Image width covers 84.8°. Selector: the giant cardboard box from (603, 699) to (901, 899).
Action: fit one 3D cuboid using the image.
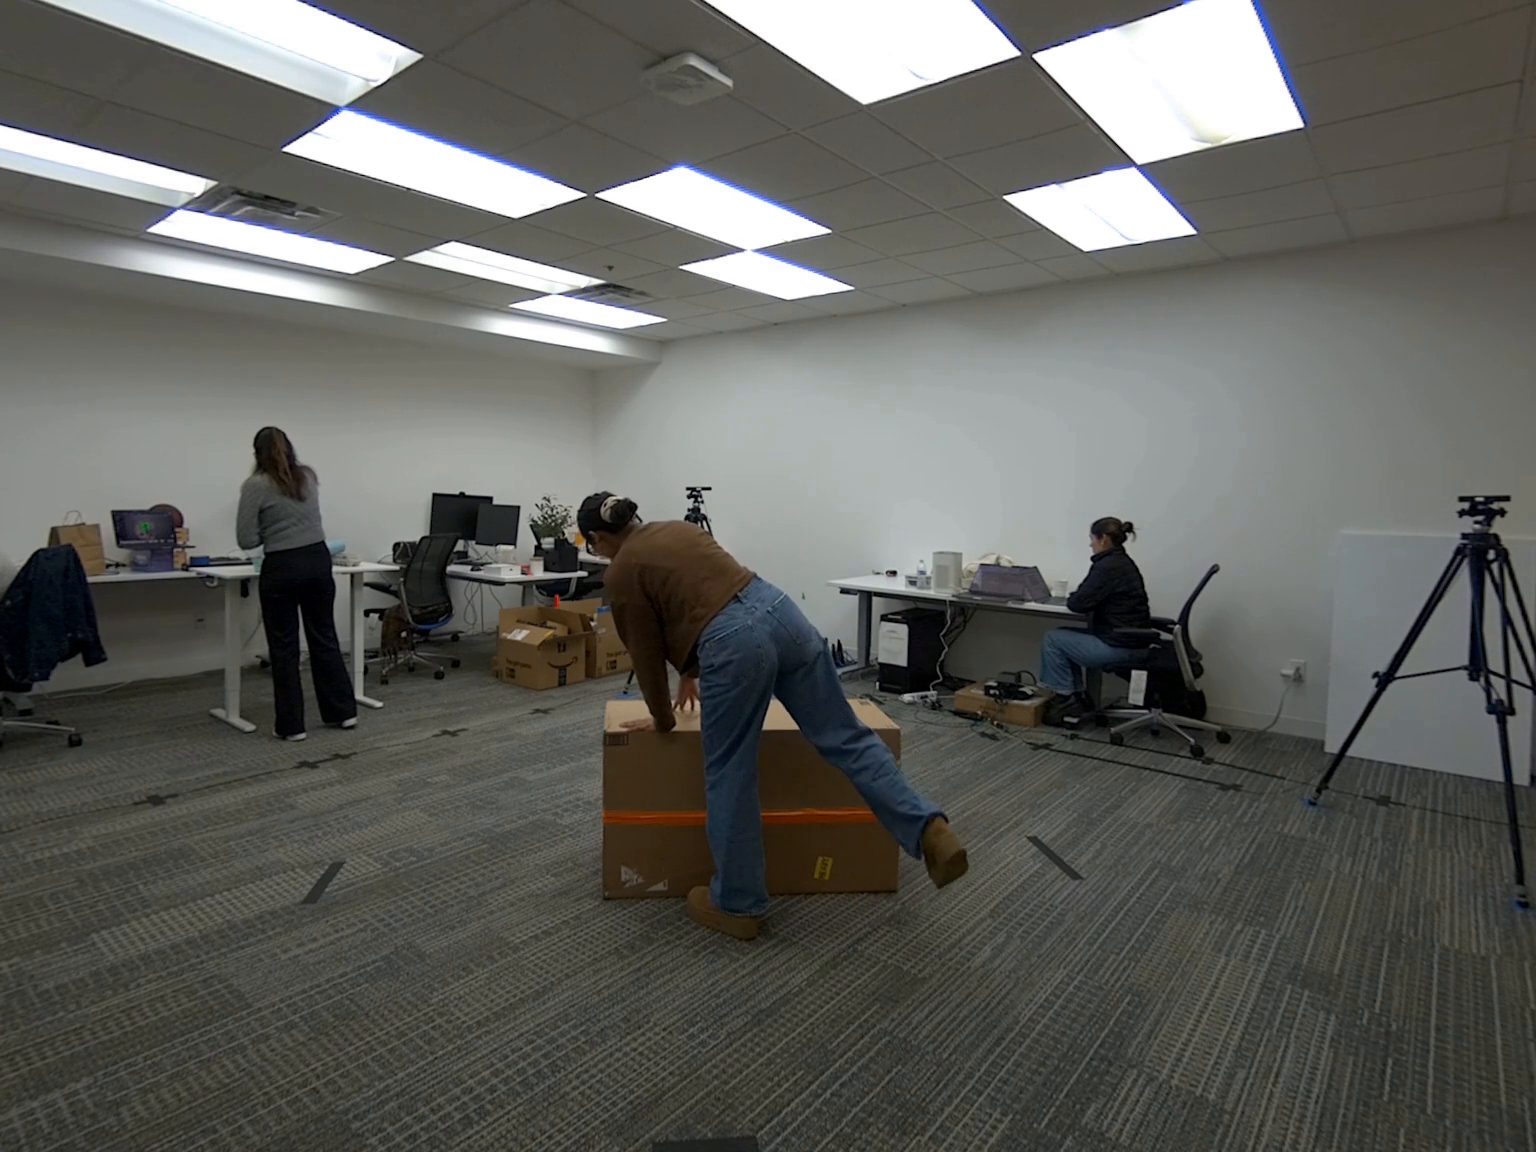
[{"bbox_3d":[-0.088,0.782,3.095,1.021,0.582,0.451,0,3,-6],"label":"giant cardboard box"}]
